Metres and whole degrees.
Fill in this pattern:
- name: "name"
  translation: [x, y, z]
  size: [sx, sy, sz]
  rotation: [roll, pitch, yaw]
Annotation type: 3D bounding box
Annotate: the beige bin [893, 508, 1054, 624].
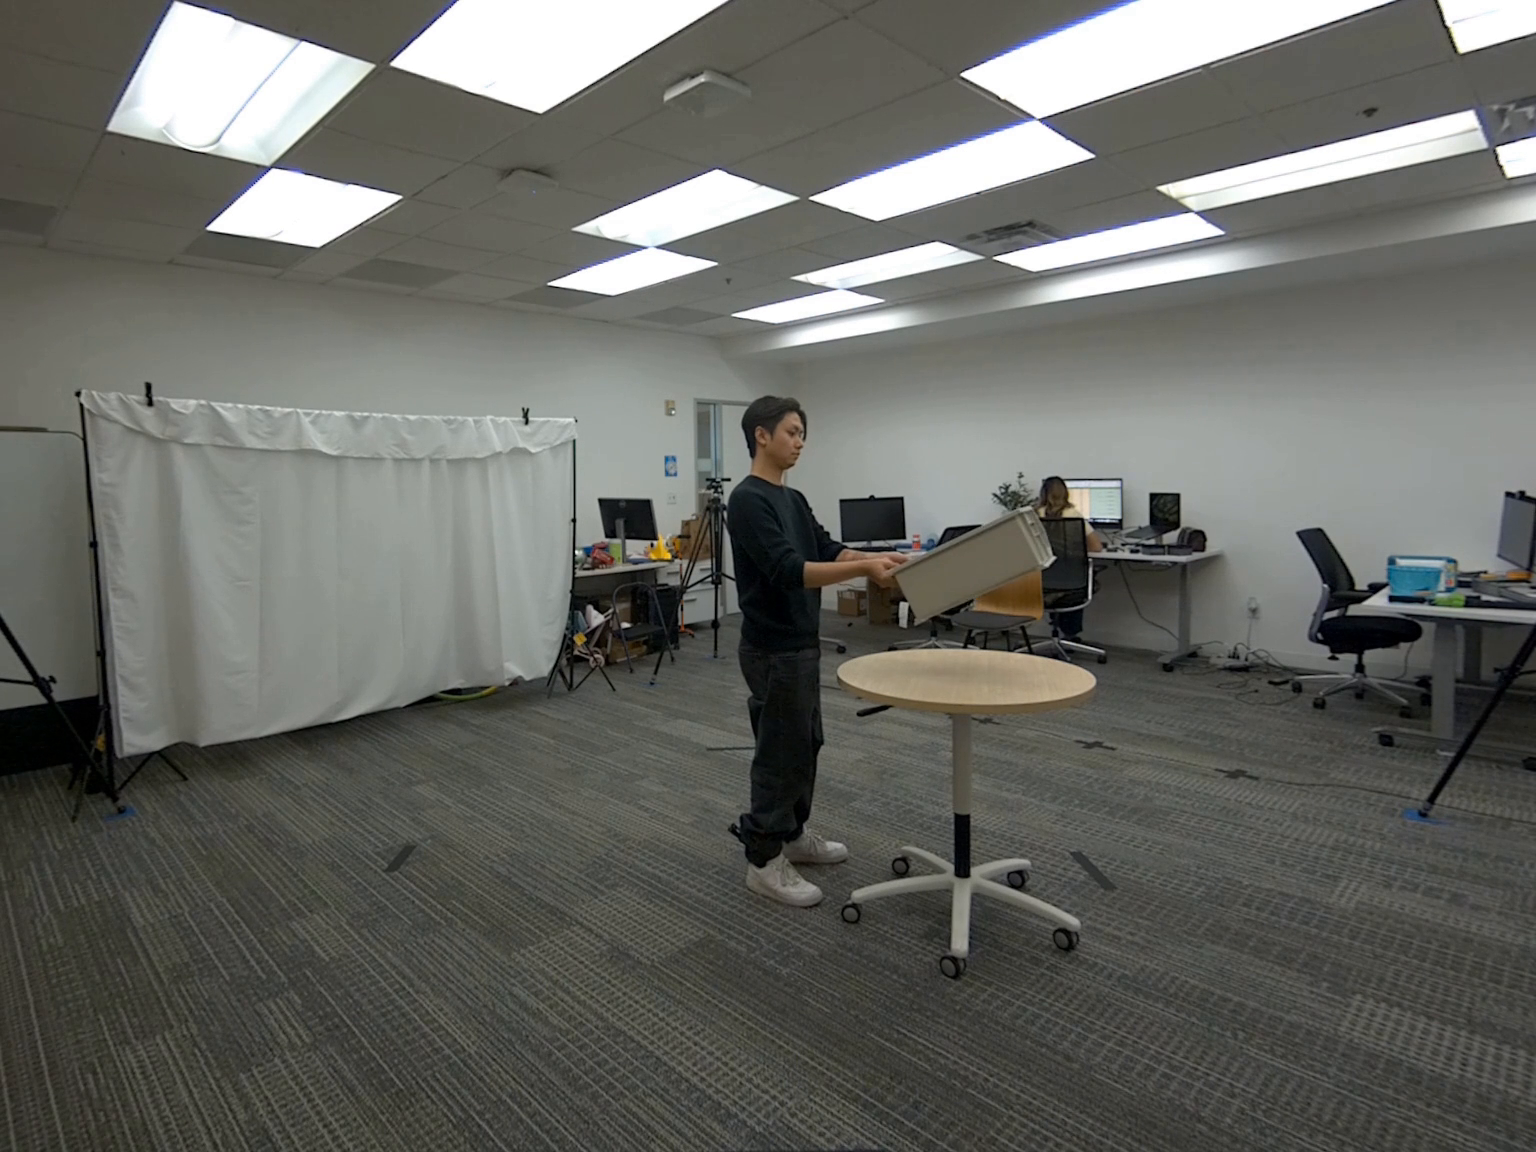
- name: "beige bin"
  translation: [0.638, -0.026, 2.596]
  size: [0.426, 0.191, 0.370]
  rotation: [-26, -6, 23]
